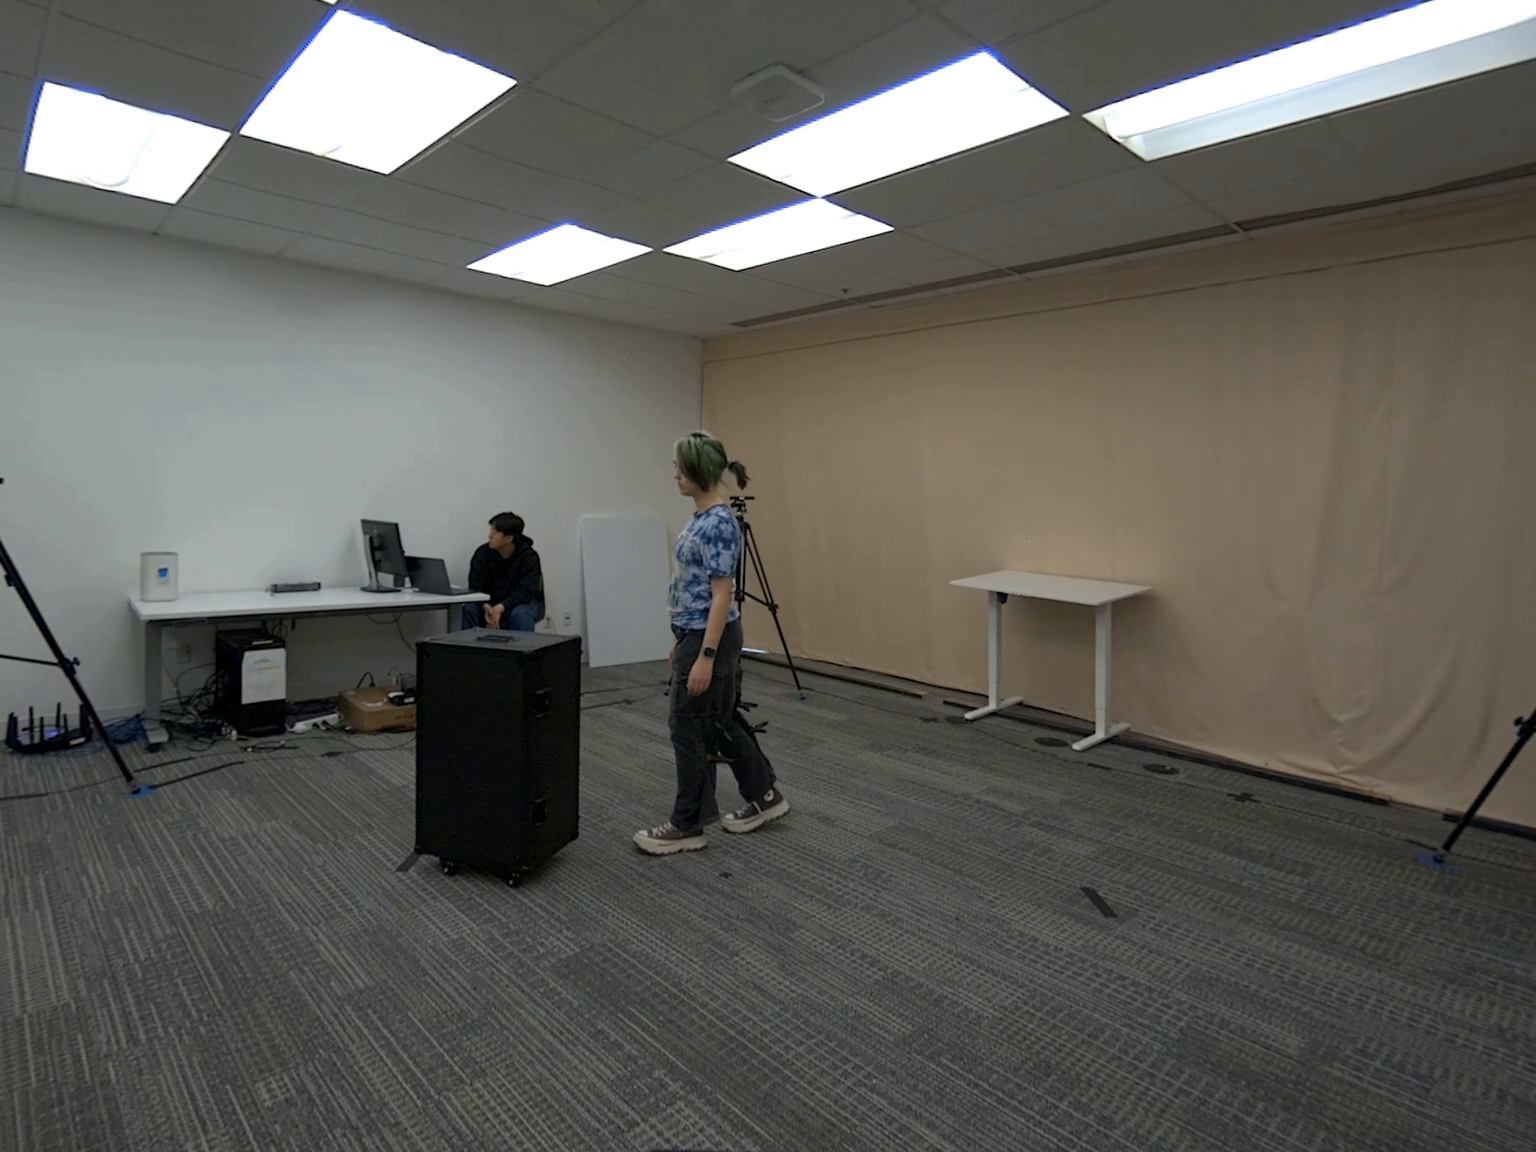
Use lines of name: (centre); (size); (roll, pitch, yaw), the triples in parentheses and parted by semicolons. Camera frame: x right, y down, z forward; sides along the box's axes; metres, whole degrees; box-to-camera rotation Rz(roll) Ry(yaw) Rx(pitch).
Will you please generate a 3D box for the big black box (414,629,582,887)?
big black box: (-1.011, 0.655, 3.143); (0.529, 0.860, 0.391); (2, 3, 18)
